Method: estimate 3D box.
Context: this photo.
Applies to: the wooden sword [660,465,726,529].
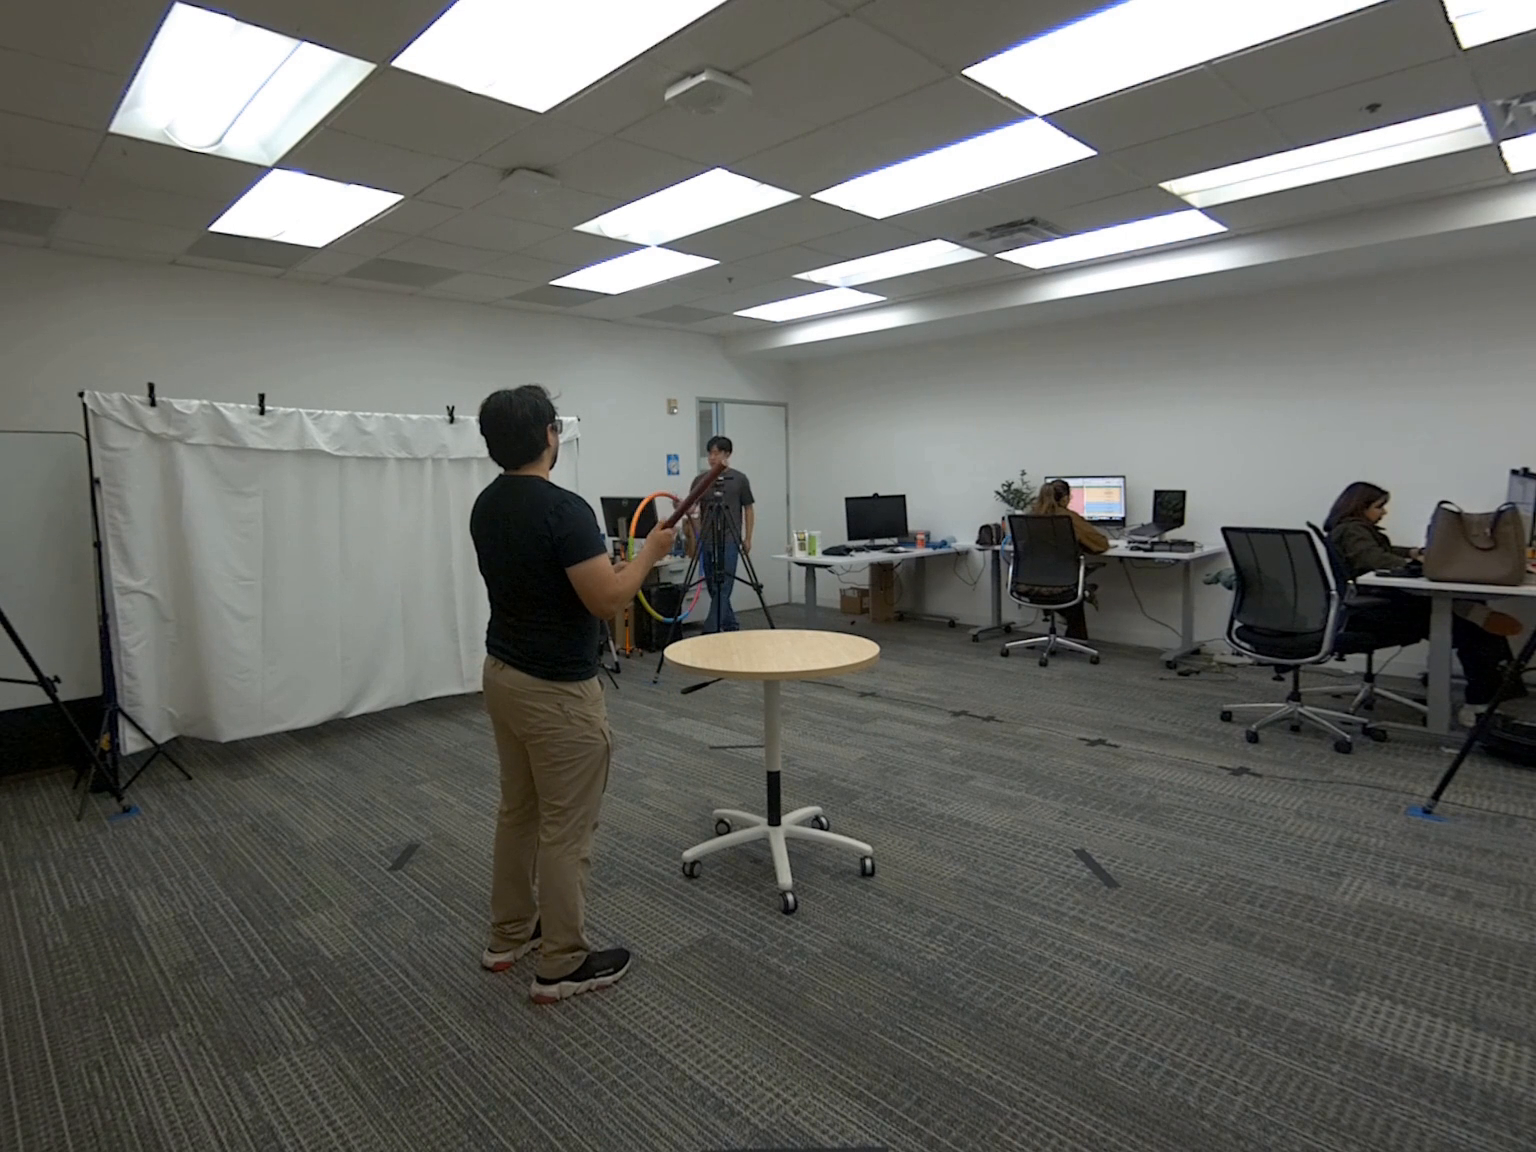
[{"bbox_3d":[-0.397,-0.037,2.595,0.051,0.024,1.025,-31,-10,-48],"label":"wooden sword"}]
